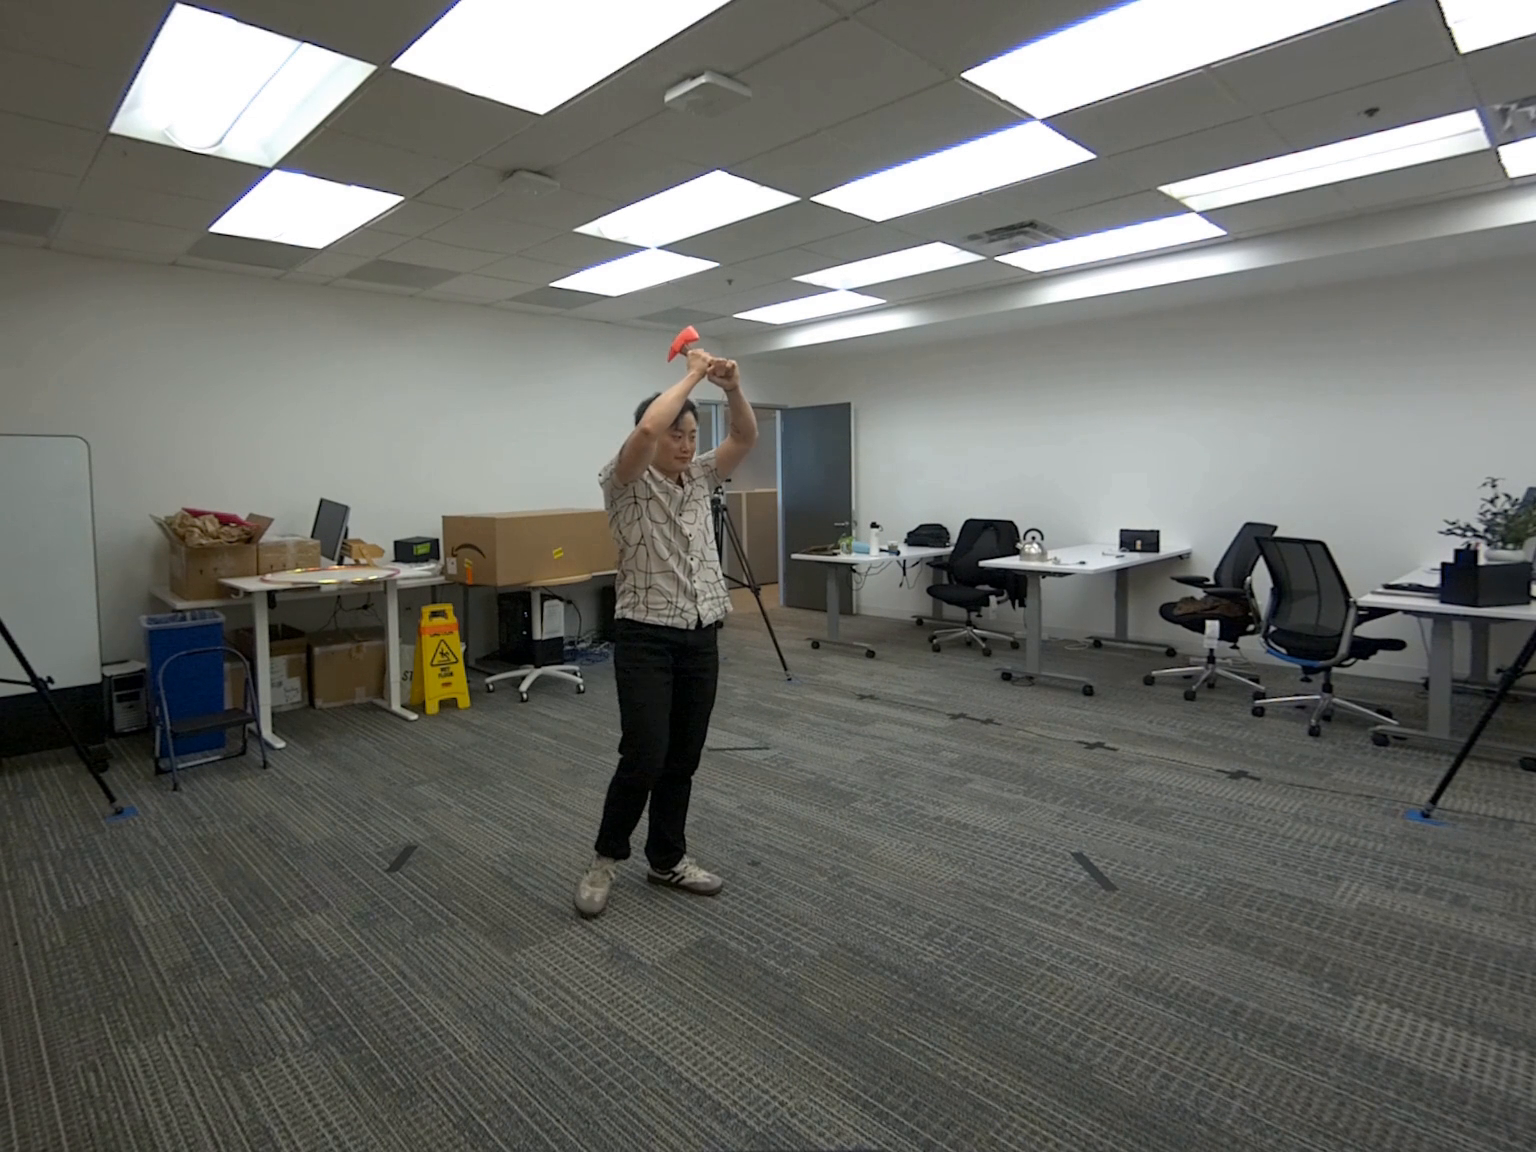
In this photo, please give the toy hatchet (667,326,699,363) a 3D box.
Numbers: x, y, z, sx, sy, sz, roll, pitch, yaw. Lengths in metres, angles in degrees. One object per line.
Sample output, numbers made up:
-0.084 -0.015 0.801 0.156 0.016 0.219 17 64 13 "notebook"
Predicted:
-0.205 -0.718 2.701 0.279 0.131 0.028 23 4 34 "toy hatchet"
